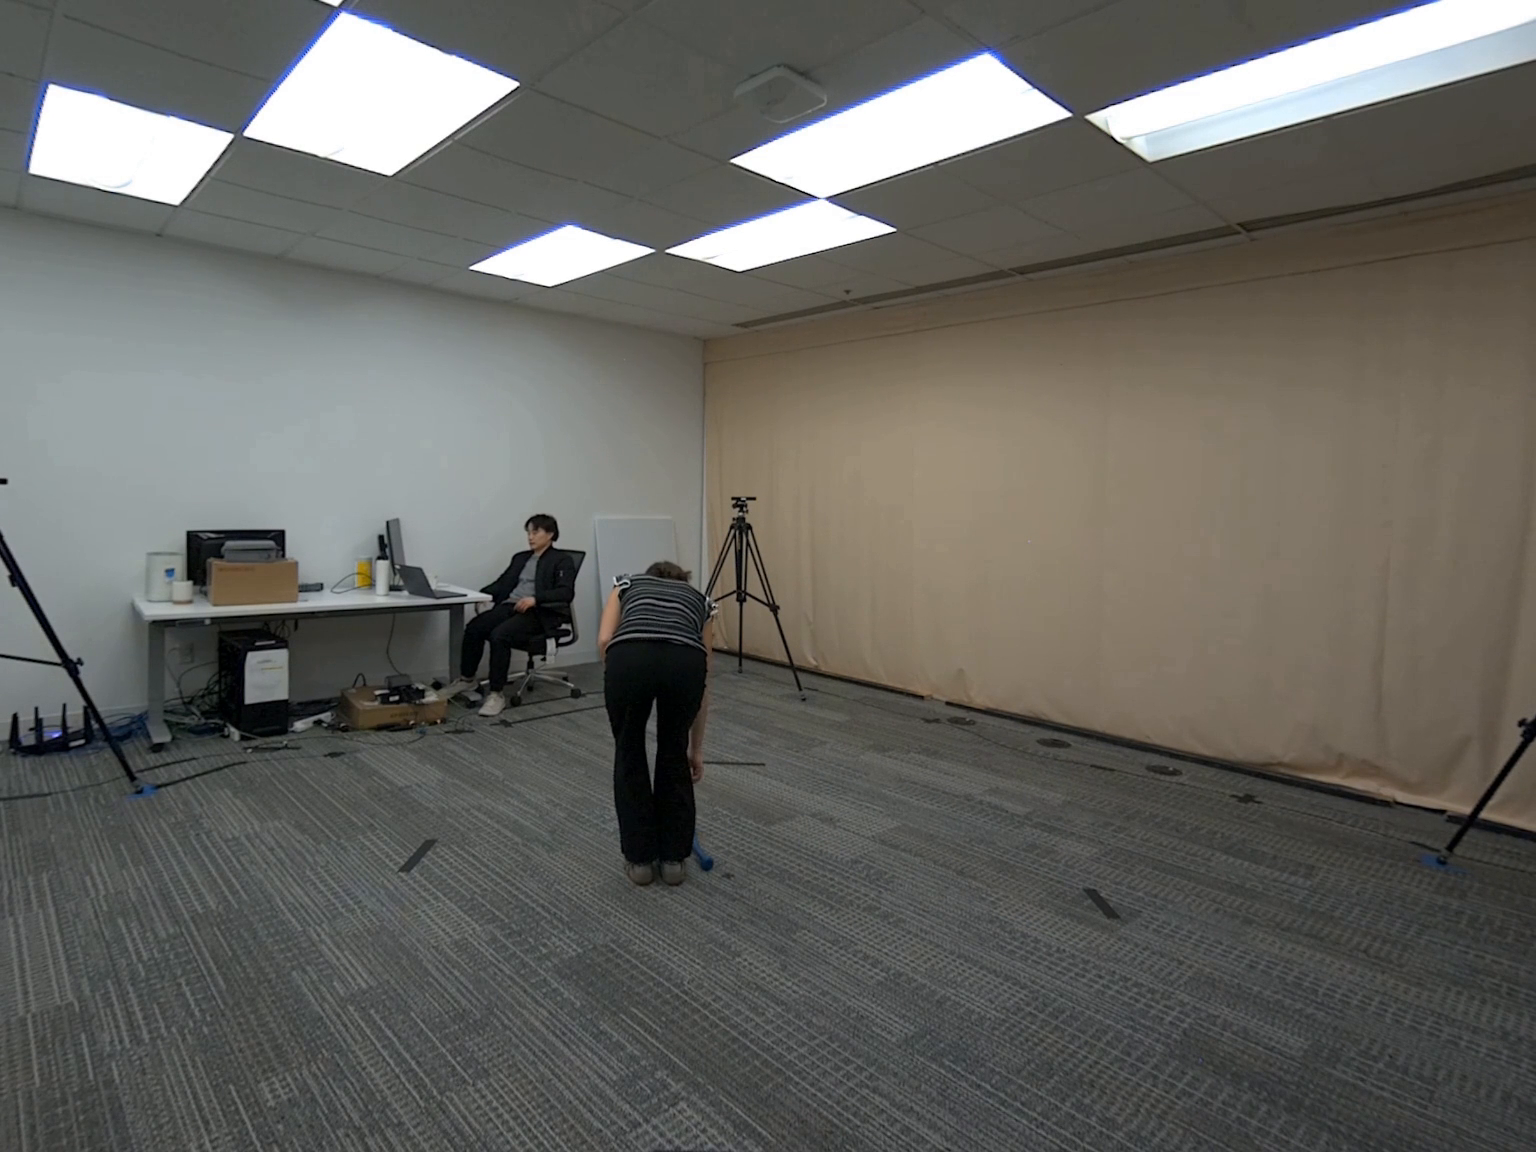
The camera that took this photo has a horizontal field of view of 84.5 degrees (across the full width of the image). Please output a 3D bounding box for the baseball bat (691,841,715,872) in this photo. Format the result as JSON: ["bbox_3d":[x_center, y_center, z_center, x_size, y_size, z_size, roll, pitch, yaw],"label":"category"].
[{"bbox_3d":[-0.329,1.047,3.392,0.088,0.088,0.554,0,9,-20],"label":"baseball bat"}]
